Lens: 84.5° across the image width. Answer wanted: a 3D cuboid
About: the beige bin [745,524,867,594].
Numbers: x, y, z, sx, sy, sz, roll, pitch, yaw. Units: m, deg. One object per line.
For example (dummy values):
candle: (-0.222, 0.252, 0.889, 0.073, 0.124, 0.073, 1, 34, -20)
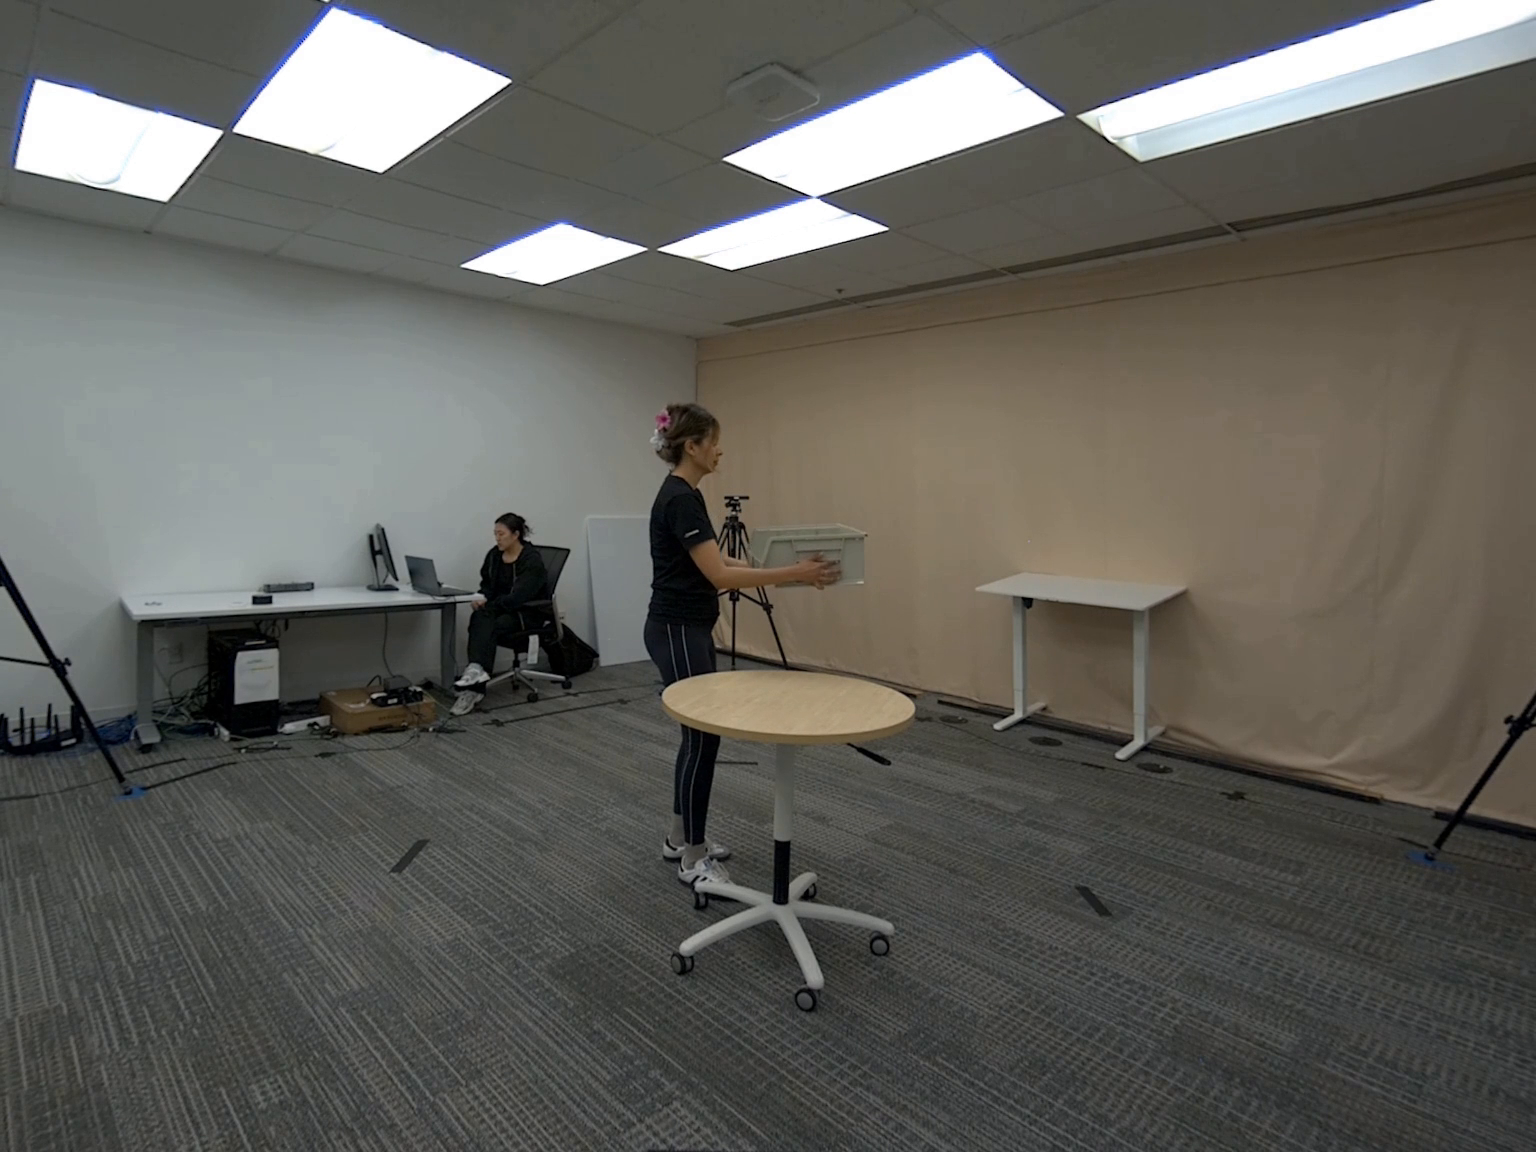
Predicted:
beige bin: (0.123, -0.073, 3.109, 0.376, 0.188, 0.426, -1, 9, -6)
